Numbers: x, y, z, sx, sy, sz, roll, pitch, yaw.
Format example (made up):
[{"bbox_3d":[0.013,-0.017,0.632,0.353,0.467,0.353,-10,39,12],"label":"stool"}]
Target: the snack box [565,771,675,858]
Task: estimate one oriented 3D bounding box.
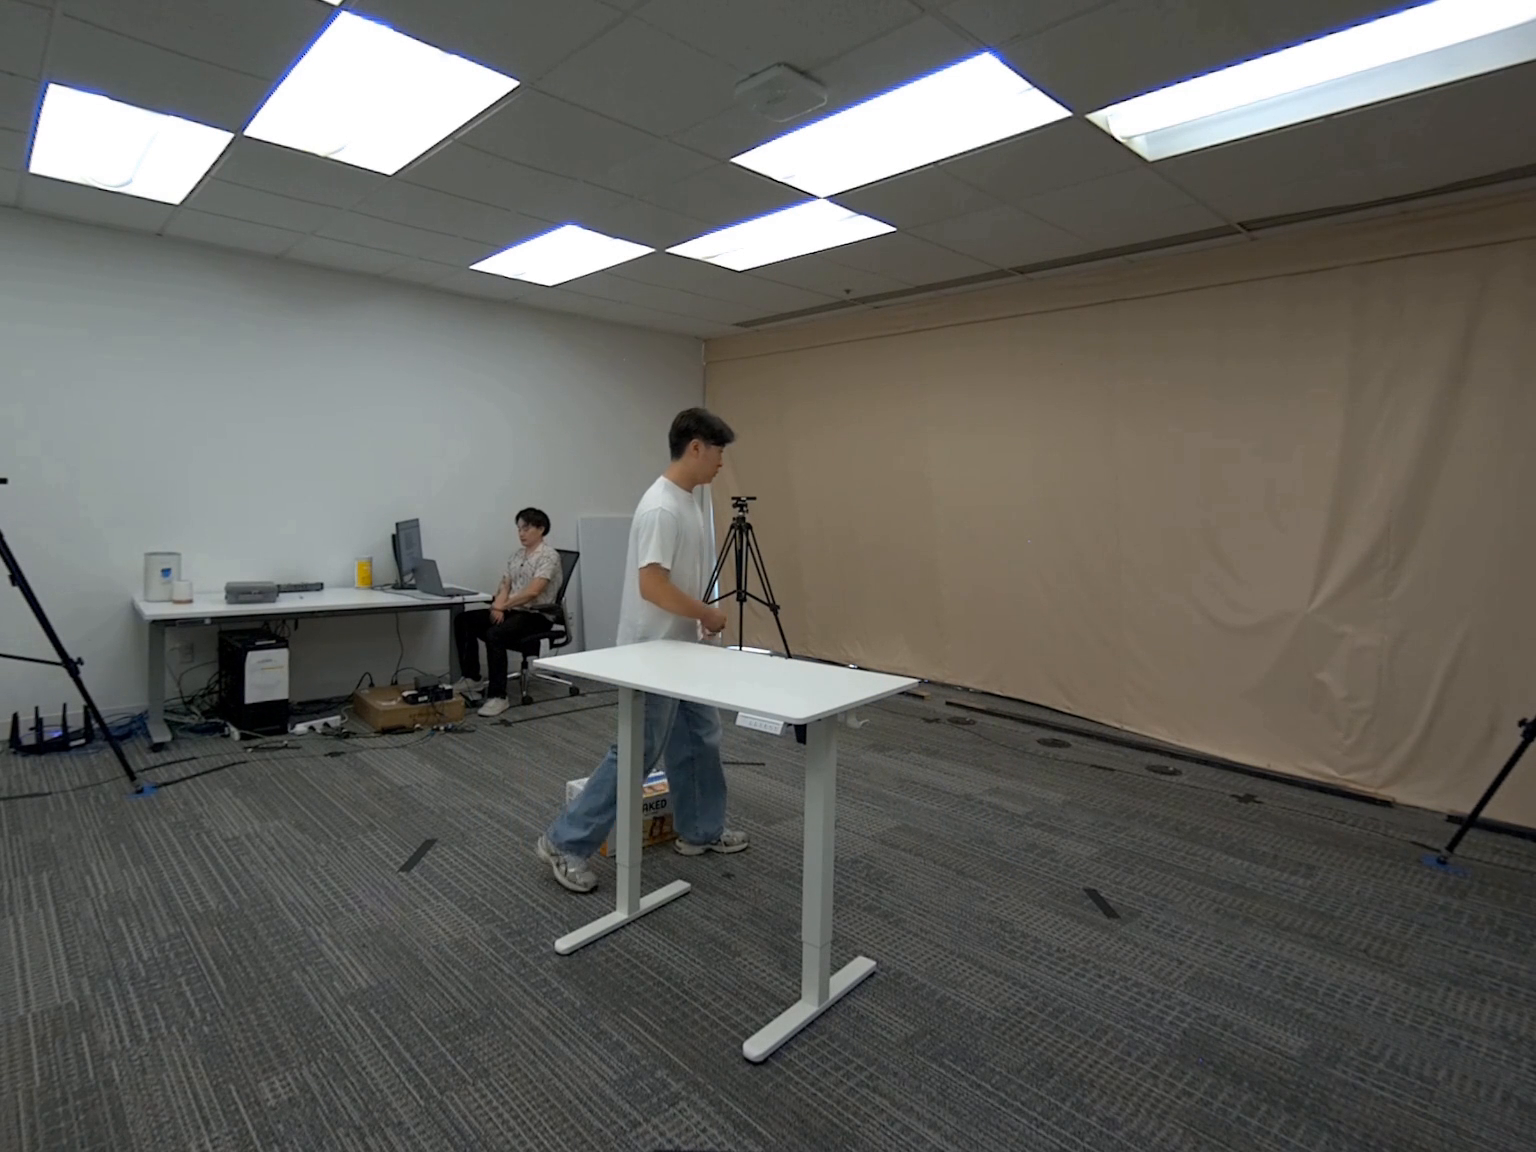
[{"bbox_3d":[-0.583,0.964,3.484,0.396,0.205,0.349,-2,6,-41],"label":"snack box"}]
